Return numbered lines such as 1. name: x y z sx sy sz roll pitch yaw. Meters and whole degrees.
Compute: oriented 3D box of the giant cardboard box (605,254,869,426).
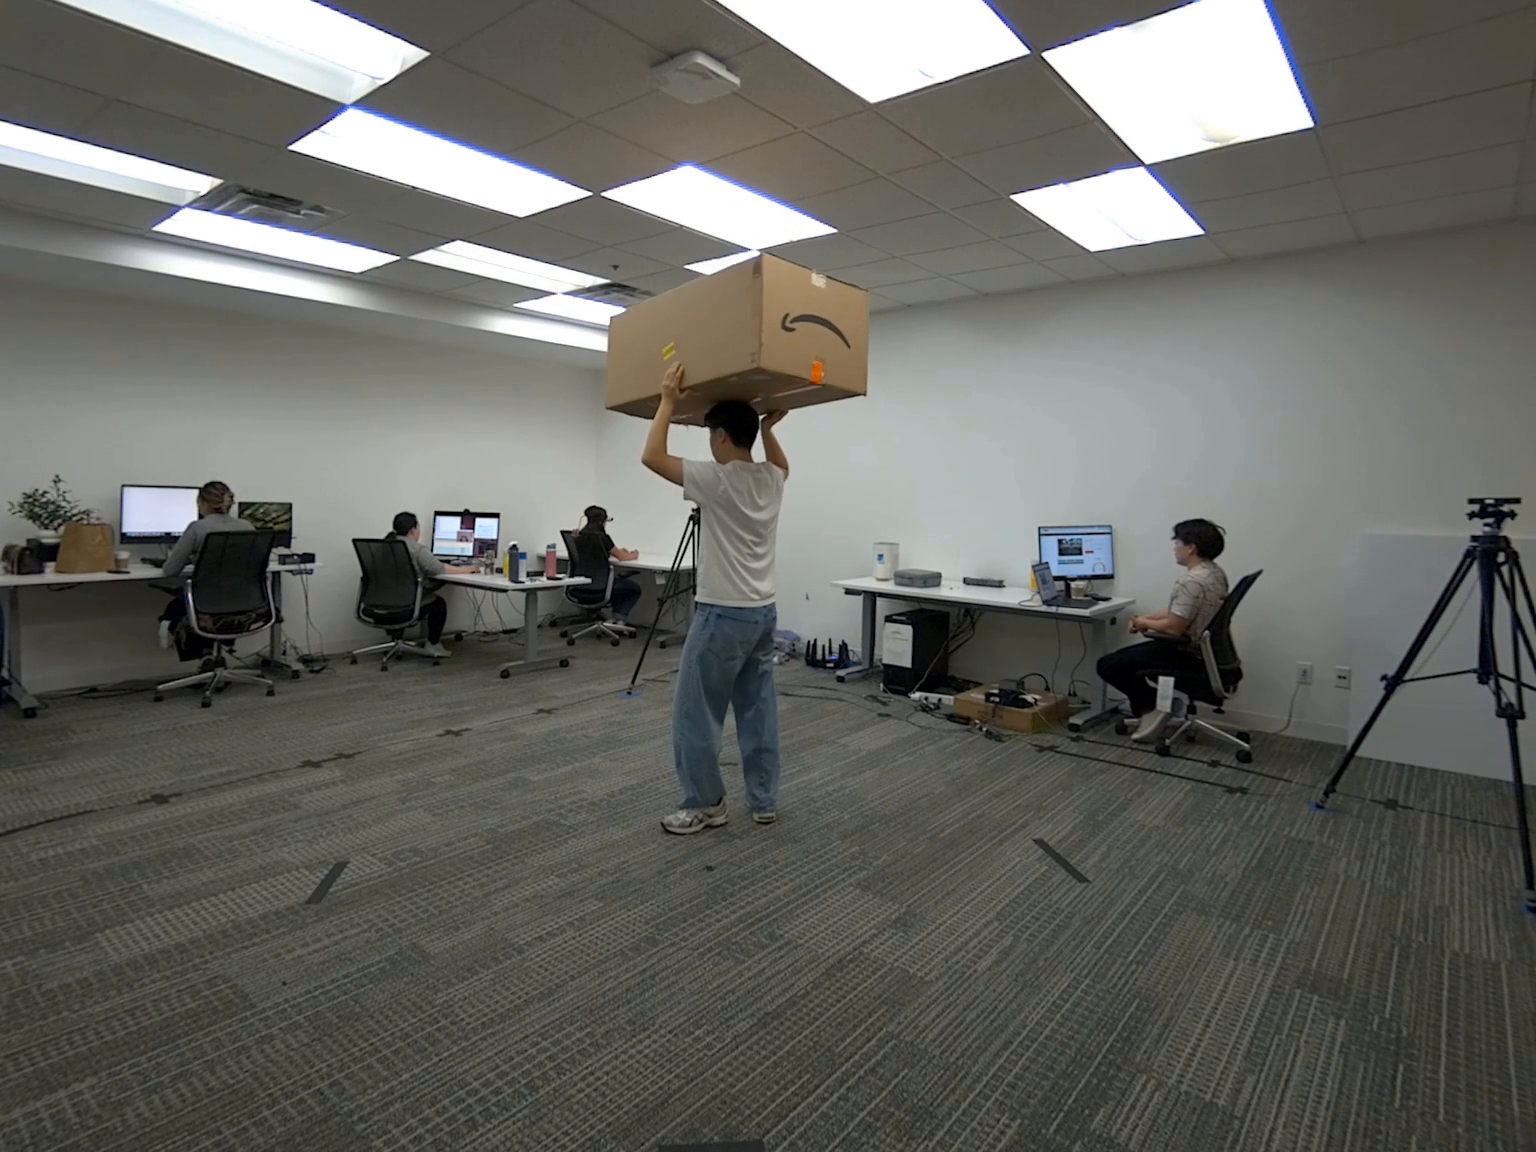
1. giant cardboard box: -0.174 -0.930 3.560 0.558 0.427 1.058 4 -2 -41
